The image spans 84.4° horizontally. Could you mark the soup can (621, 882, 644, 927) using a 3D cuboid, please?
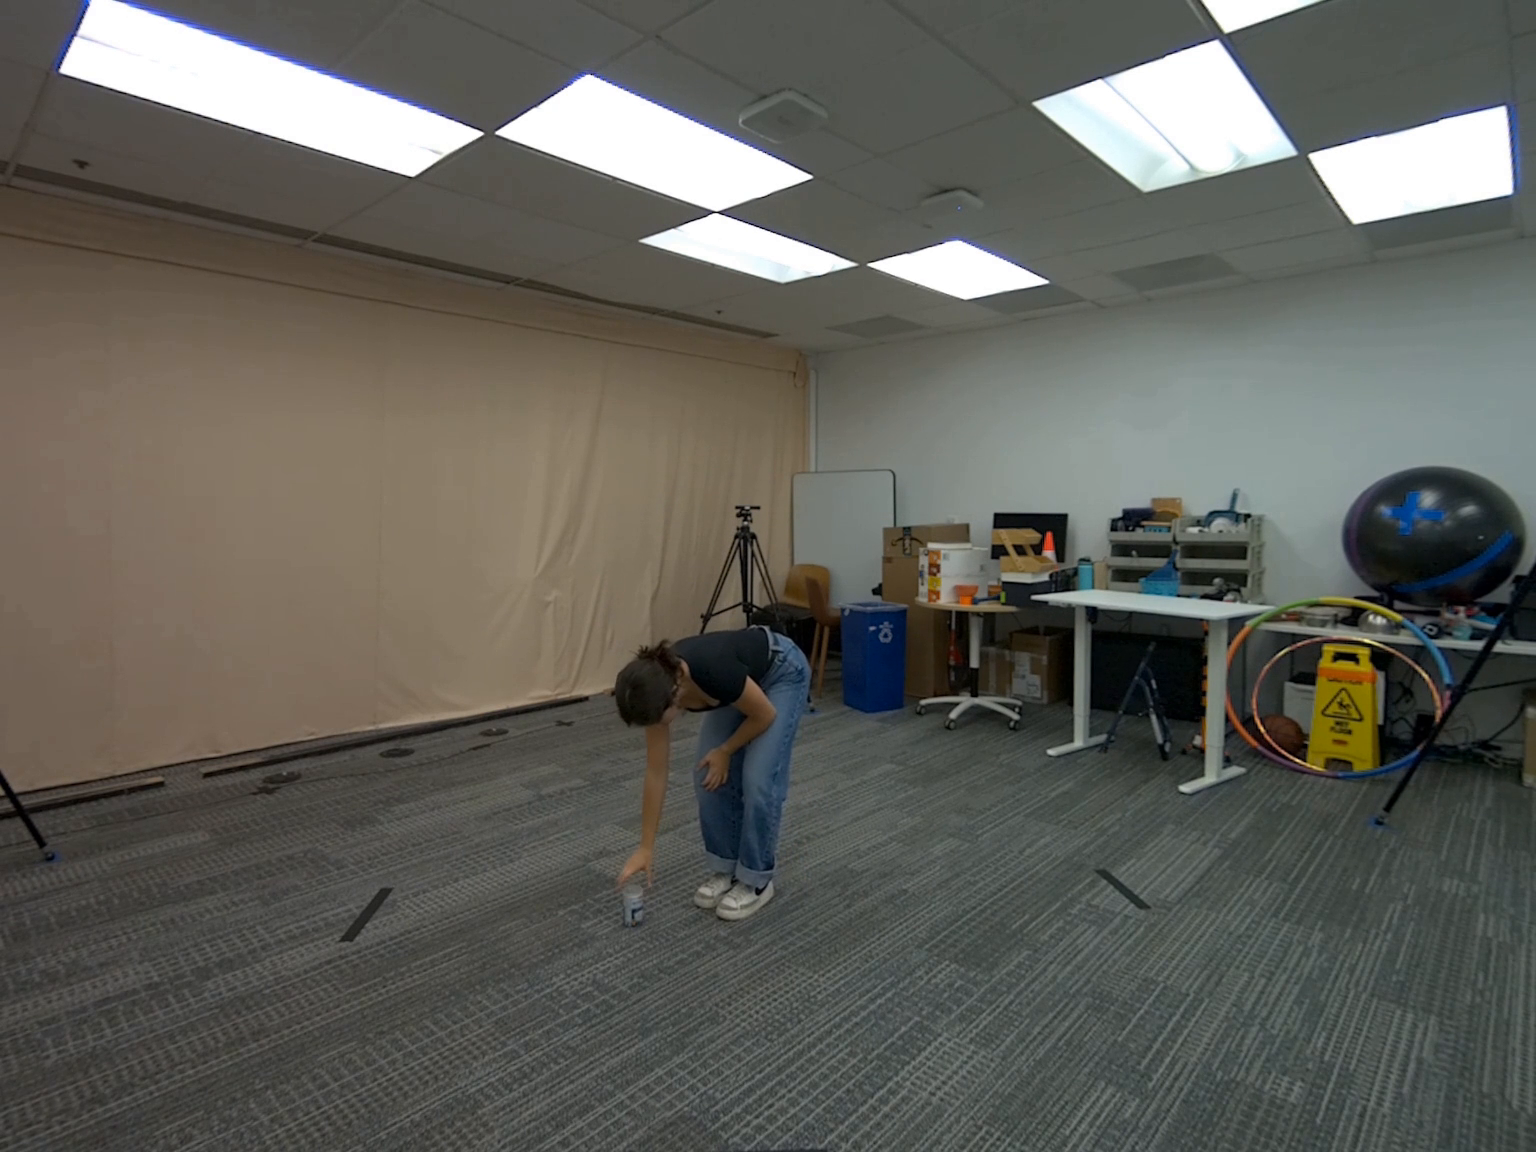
[{"bbox_3d":[-0.446,1.108,2.810,0.067,0.121,0.067,-2,1,-2],"label":"soup can"}]
